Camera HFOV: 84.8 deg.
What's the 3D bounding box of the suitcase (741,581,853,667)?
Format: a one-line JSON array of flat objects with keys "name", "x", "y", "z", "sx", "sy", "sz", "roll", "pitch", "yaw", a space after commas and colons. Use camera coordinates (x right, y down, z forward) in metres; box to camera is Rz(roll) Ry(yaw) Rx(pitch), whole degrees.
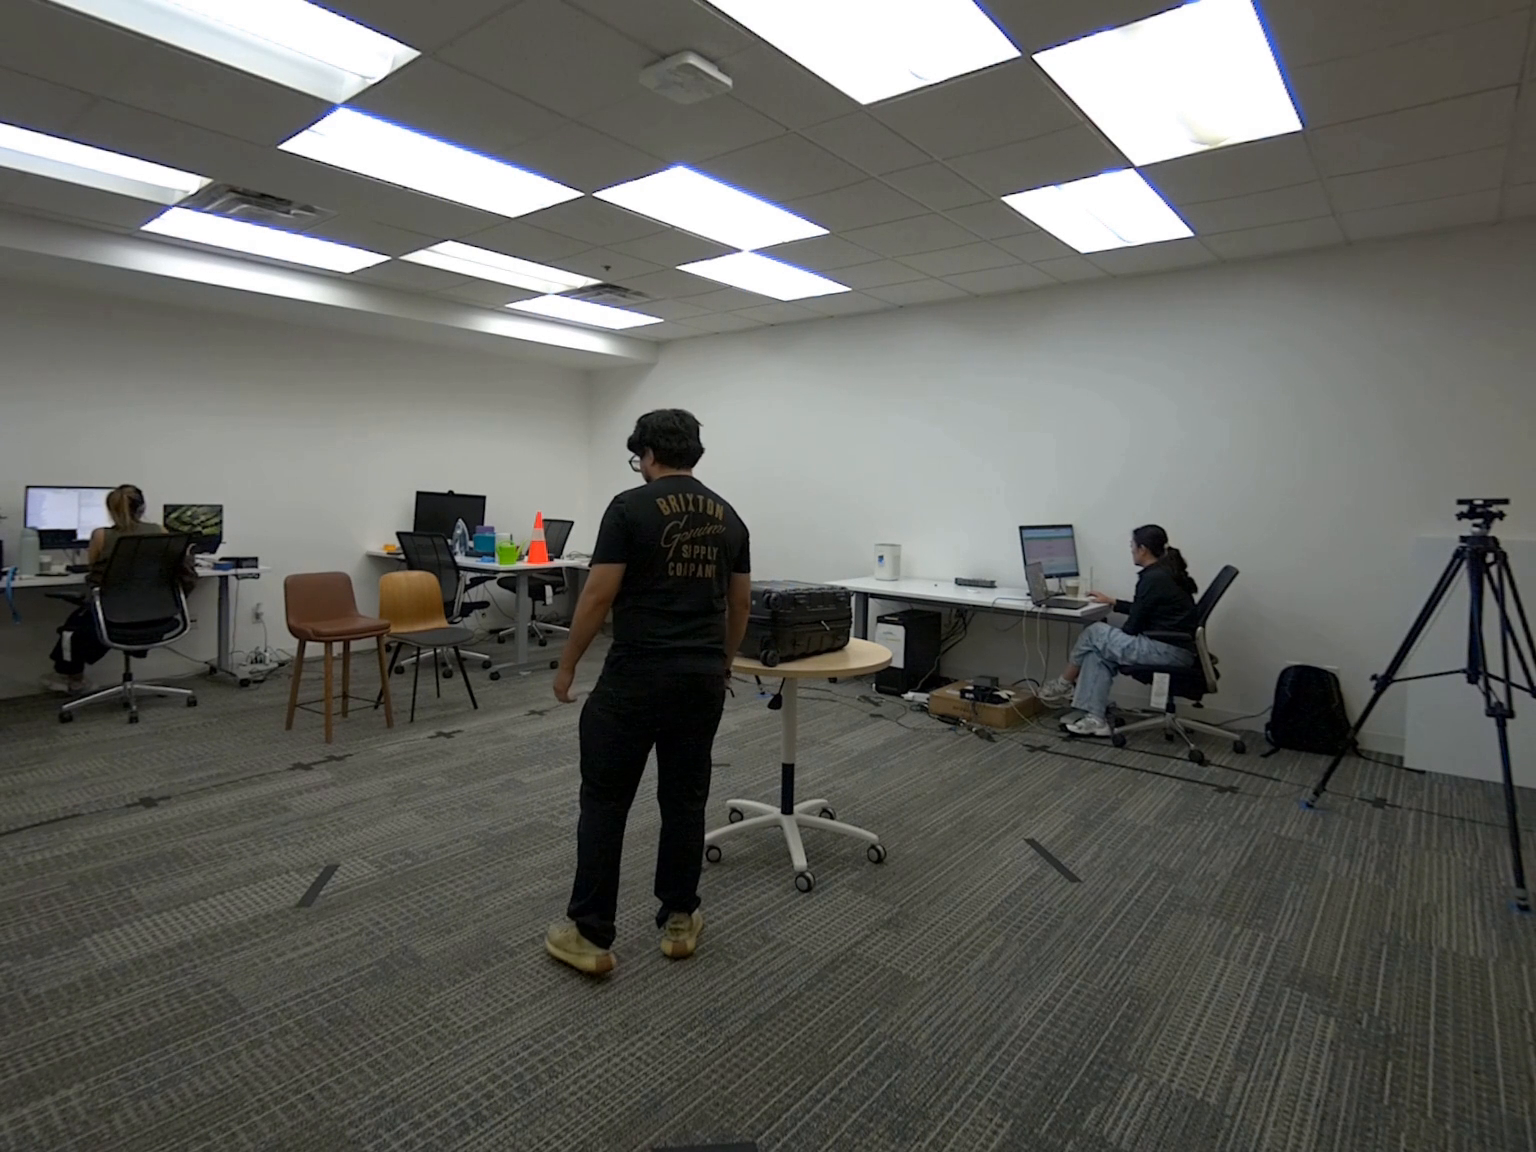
[{"name": "suitcase", "x": 0.045, "y": 0.157, "z": 3.226, "sx": 0.388, "sy": 0.247, "sz": 0.533, "roll": 5, "pitch": 5, "yaw": 40}]
